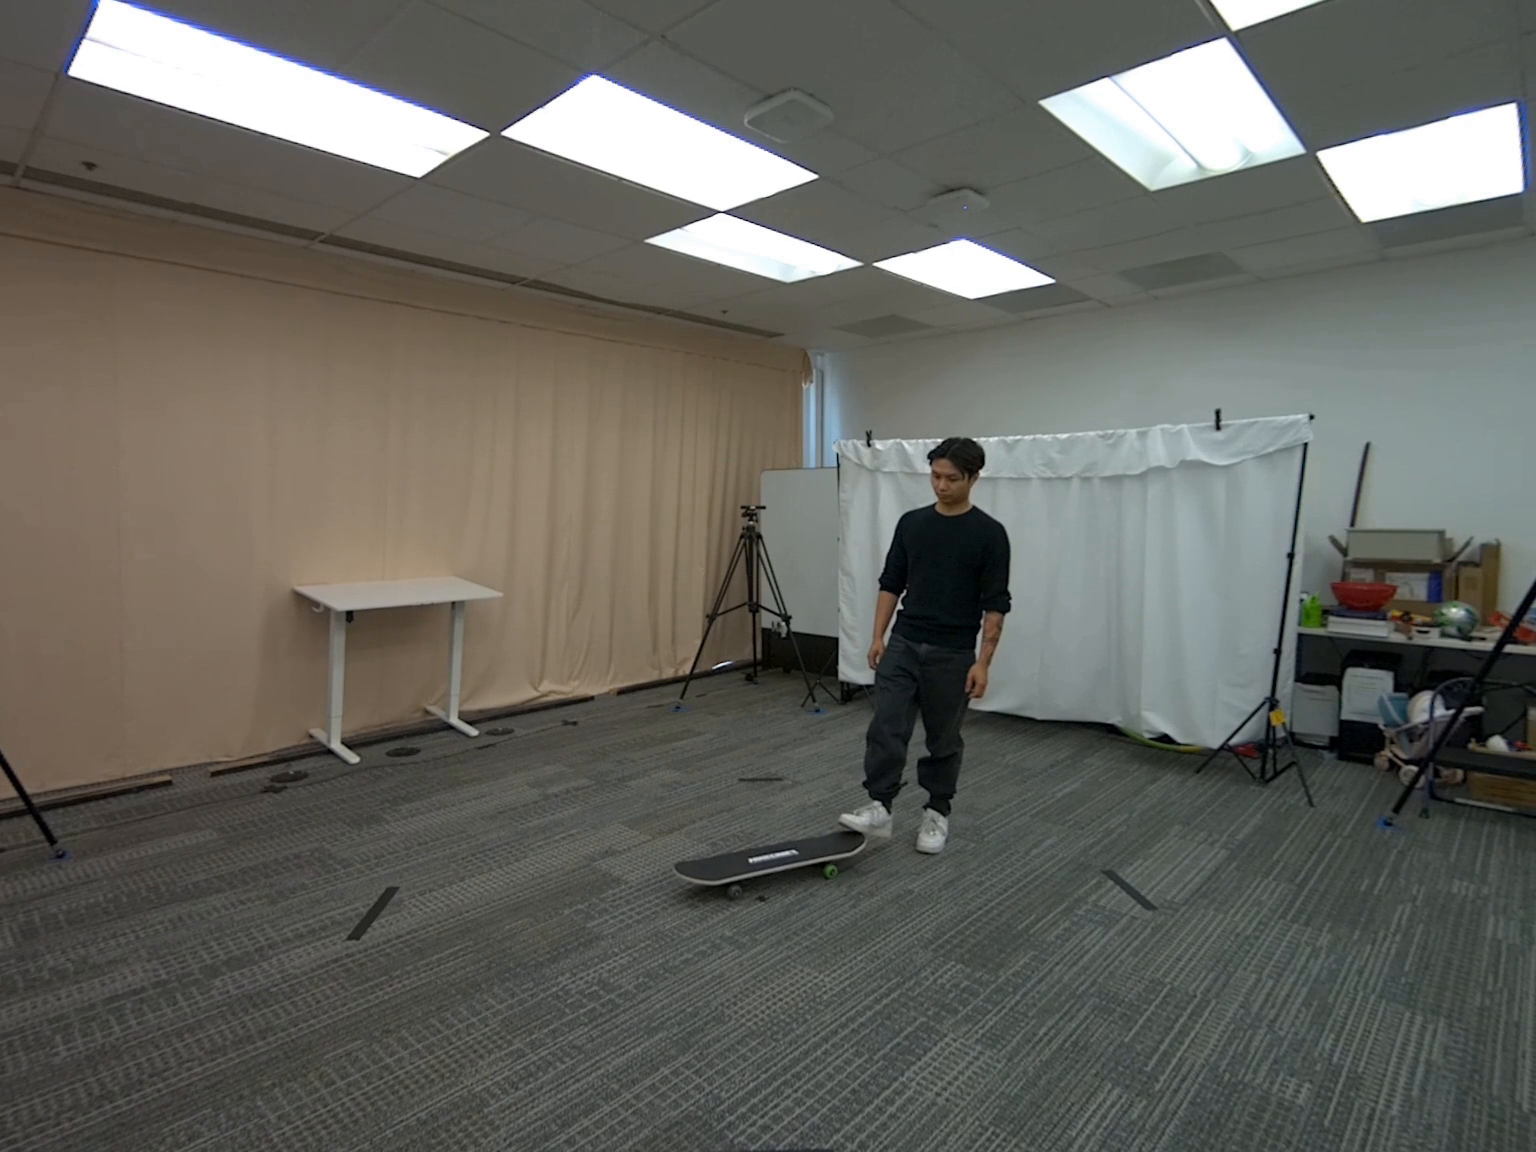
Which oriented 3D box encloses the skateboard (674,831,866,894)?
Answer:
[{"bbox_3d":[0.019,1.078,3.125,0.767,0.110,0.198,-2,5,-25],"label":"skateboard"}]
